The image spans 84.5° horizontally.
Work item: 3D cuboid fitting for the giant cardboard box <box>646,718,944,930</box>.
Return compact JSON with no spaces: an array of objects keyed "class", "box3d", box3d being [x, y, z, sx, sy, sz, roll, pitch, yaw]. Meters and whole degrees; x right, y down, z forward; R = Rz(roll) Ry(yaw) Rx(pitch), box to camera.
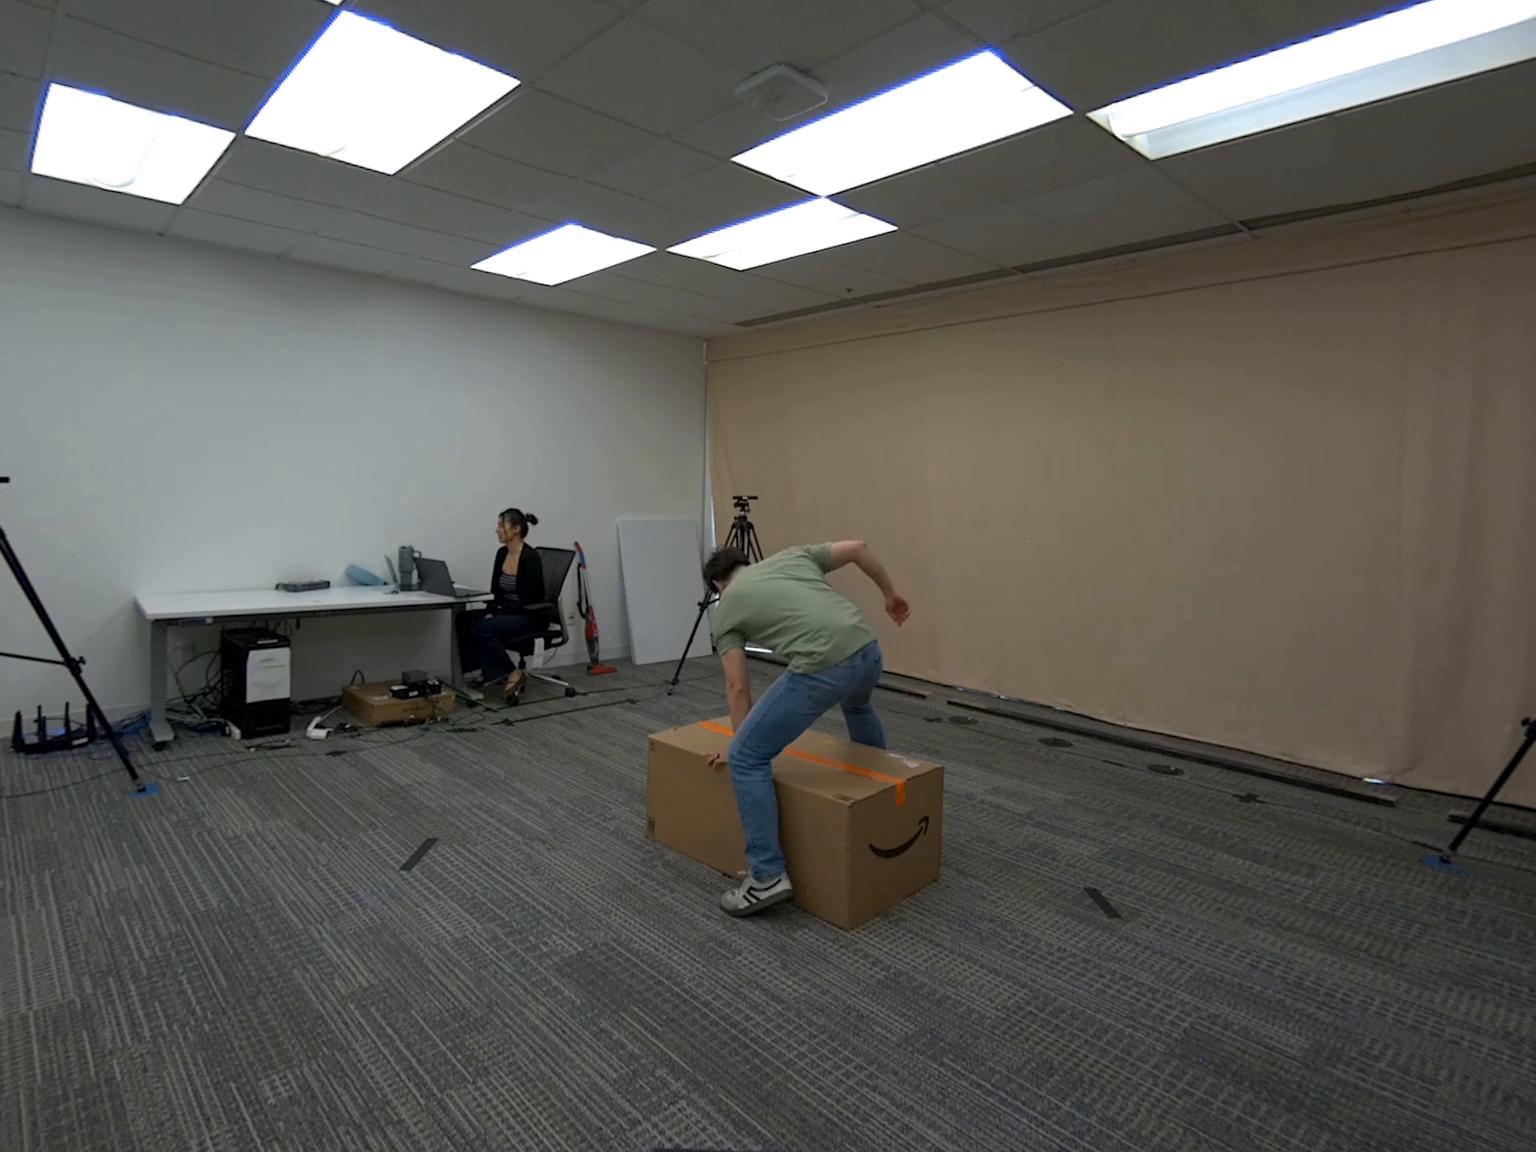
[{"class":"giant cardboard box","box3d":[0.070,0.882,3.259,1.052,0.425,0.564,6,6,44]}]
